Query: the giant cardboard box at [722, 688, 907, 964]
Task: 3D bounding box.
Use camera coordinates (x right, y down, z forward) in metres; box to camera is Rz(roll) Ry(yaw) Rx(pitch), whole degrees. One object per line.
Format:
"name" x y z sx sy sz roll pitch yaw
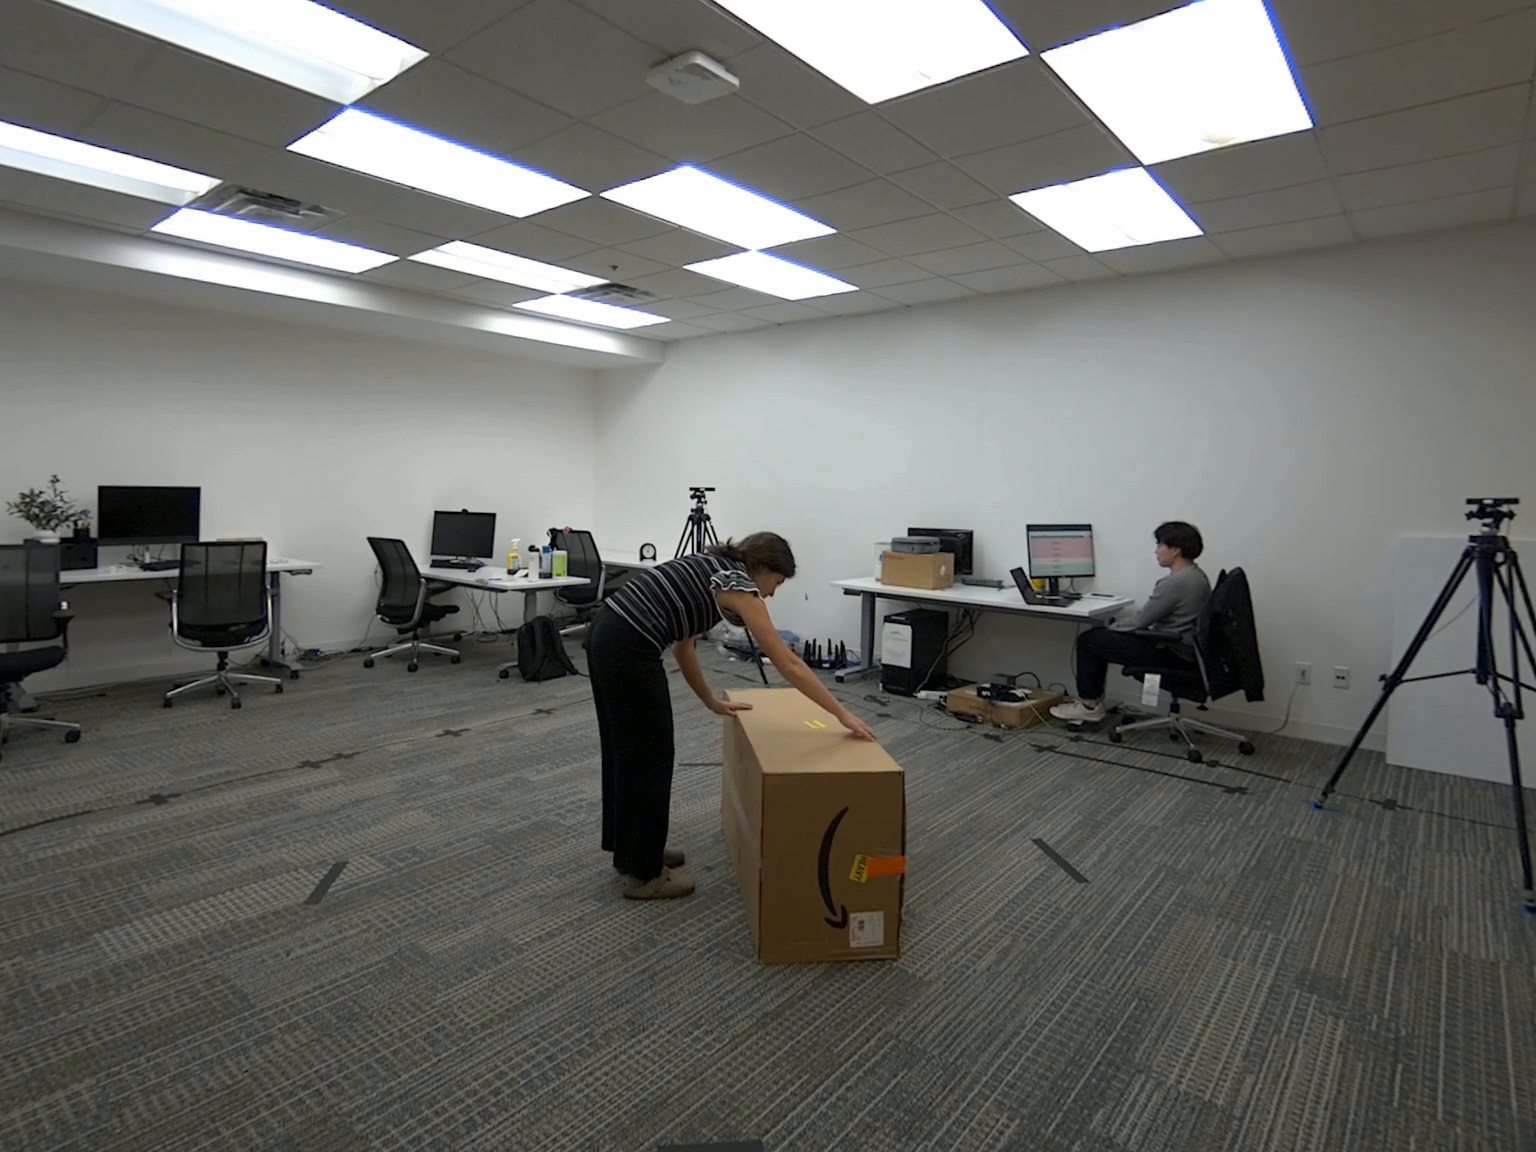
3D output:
"giant cardboard box" 0.107 0.791 2.995 0.423 0.575 1.038 1 5 -9
